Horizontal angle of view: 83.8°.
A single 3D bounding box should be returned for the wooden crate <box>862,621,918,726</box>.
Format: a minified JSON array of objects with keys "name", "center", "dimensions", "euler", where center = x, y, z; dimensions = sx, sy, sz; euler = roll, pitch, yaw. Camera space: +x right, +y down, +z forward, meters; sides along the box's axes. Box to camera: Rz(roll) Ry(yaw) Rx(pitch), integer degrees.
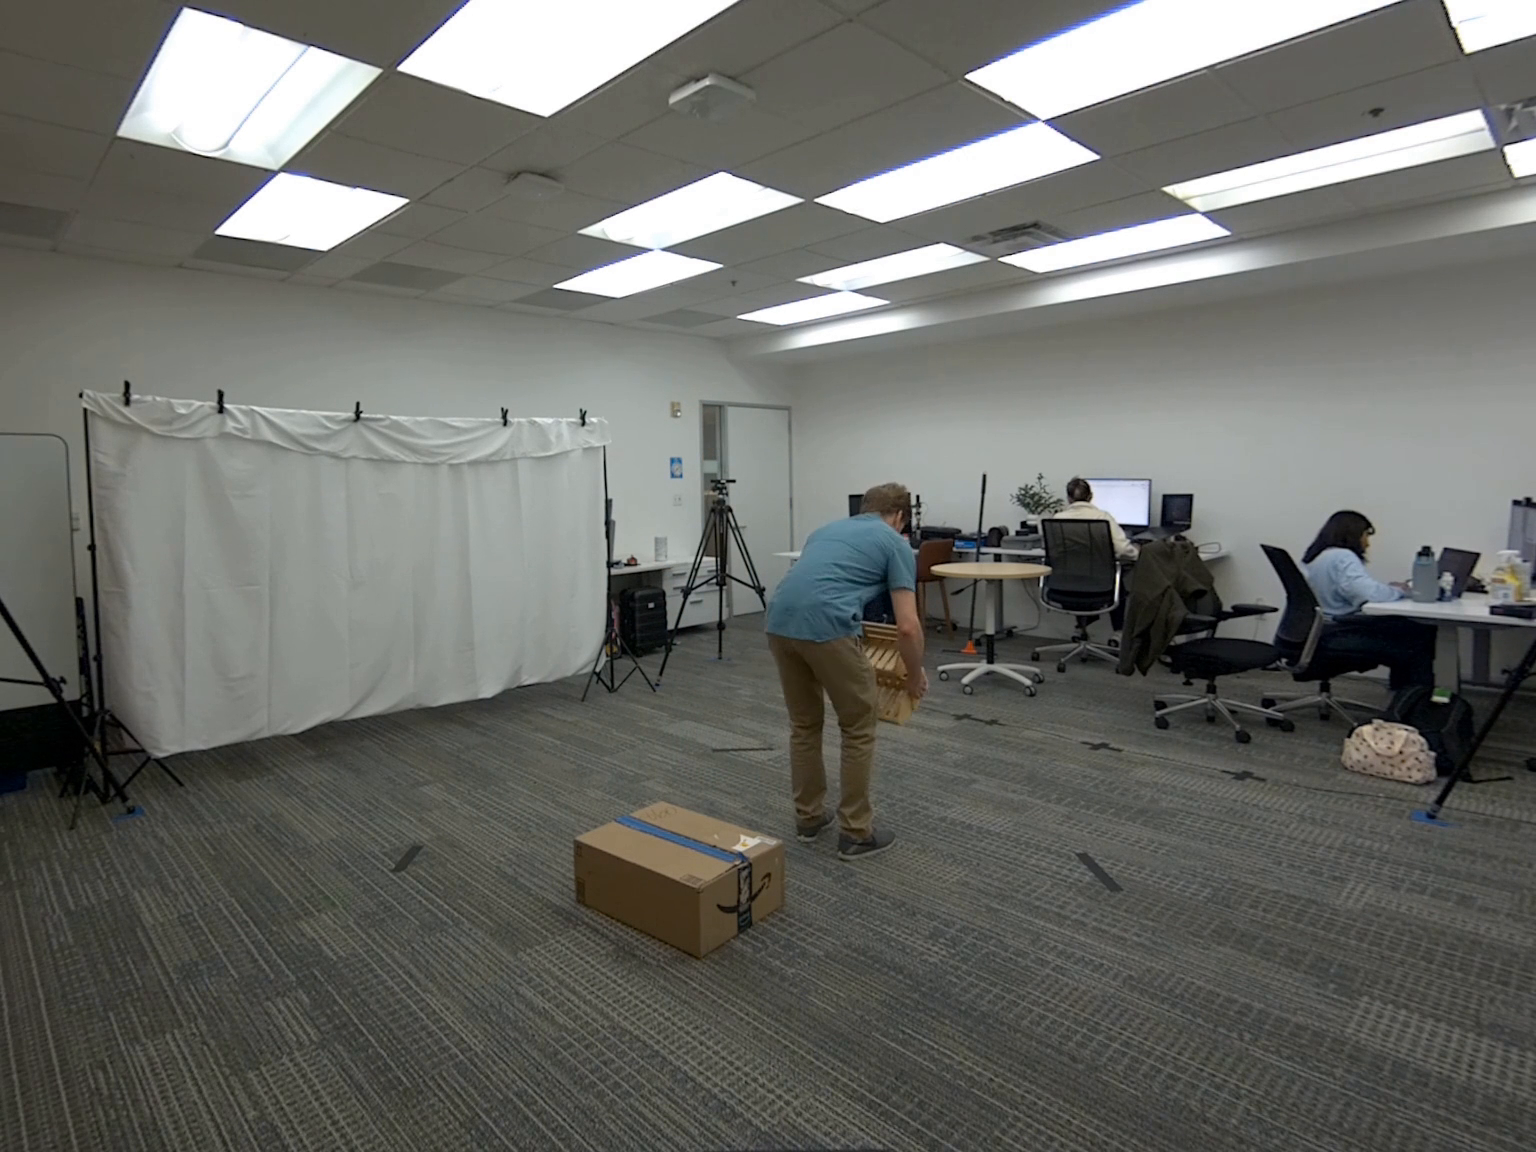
[{"name":"wooden crate","center":[0.440,0.390,3.432],"dimensions":[0.334,0.265,0.301],"euler":[5,39,43]}]
